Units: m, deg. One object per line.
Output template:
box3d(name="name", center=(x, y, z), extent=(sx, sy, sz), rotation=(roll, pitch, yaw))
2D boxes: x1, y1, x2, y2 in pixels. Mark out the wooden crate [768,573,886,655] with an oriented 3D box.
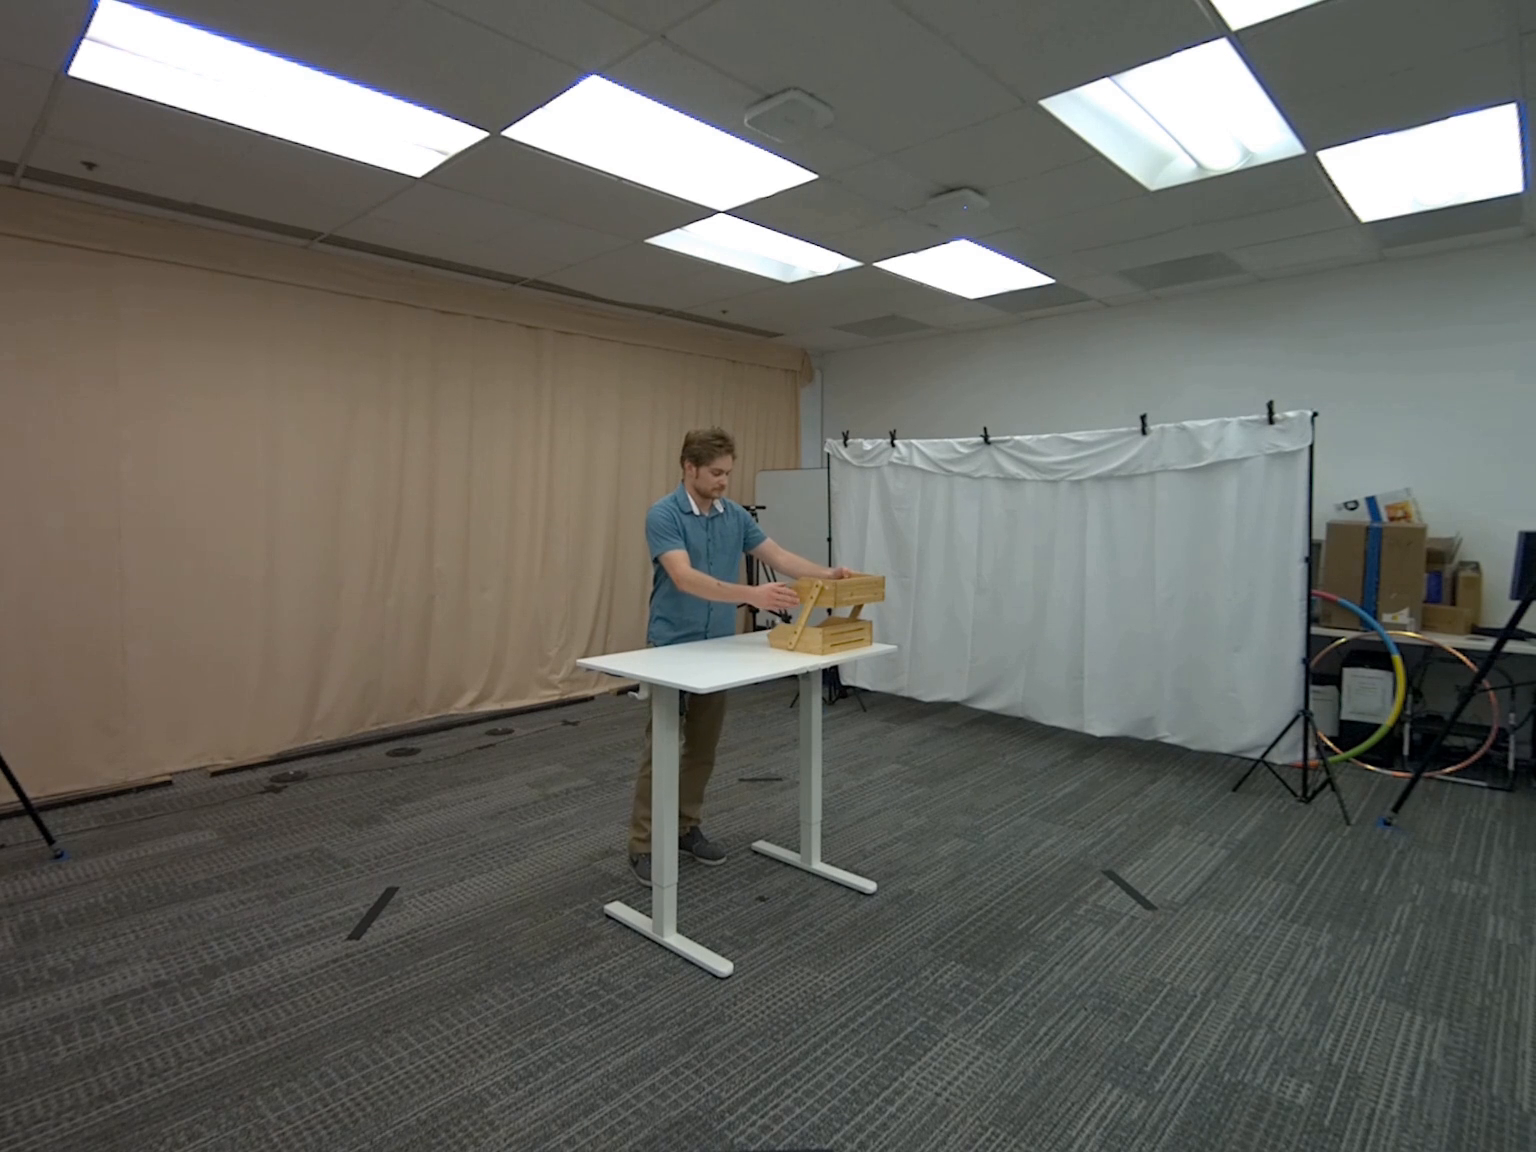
box3d(name="wooden crate", center=(0.213, 0.125, 3.032), extent=(0.312, 0.272, 0.314), rotation=(5, 6, 43))
